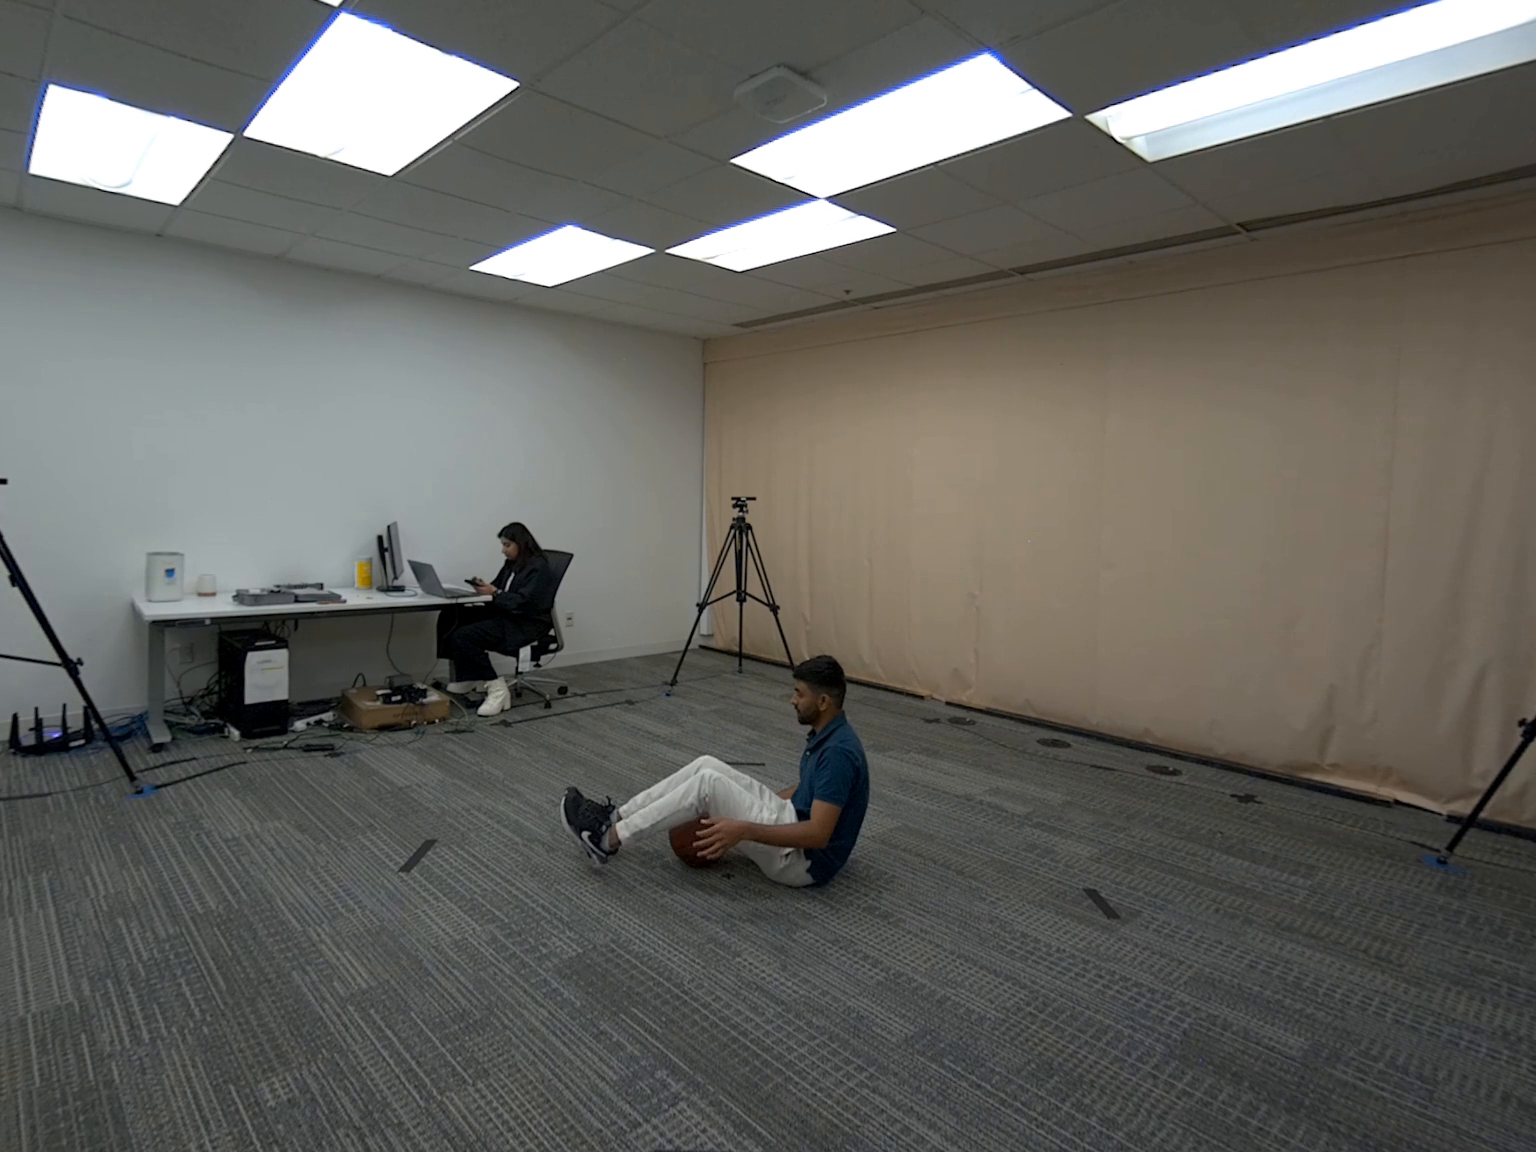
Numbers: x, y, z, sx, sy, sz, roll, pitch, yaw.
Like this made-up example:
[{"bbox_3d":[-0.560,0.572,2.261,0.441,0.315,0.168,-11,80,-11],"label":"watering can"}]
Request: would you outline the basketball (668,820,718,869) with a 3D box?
[{"bbox_3d":[-0.258,0.974,3.194,0.236,0.235,0.237,1,4,-1],"label":"basketball"}]
